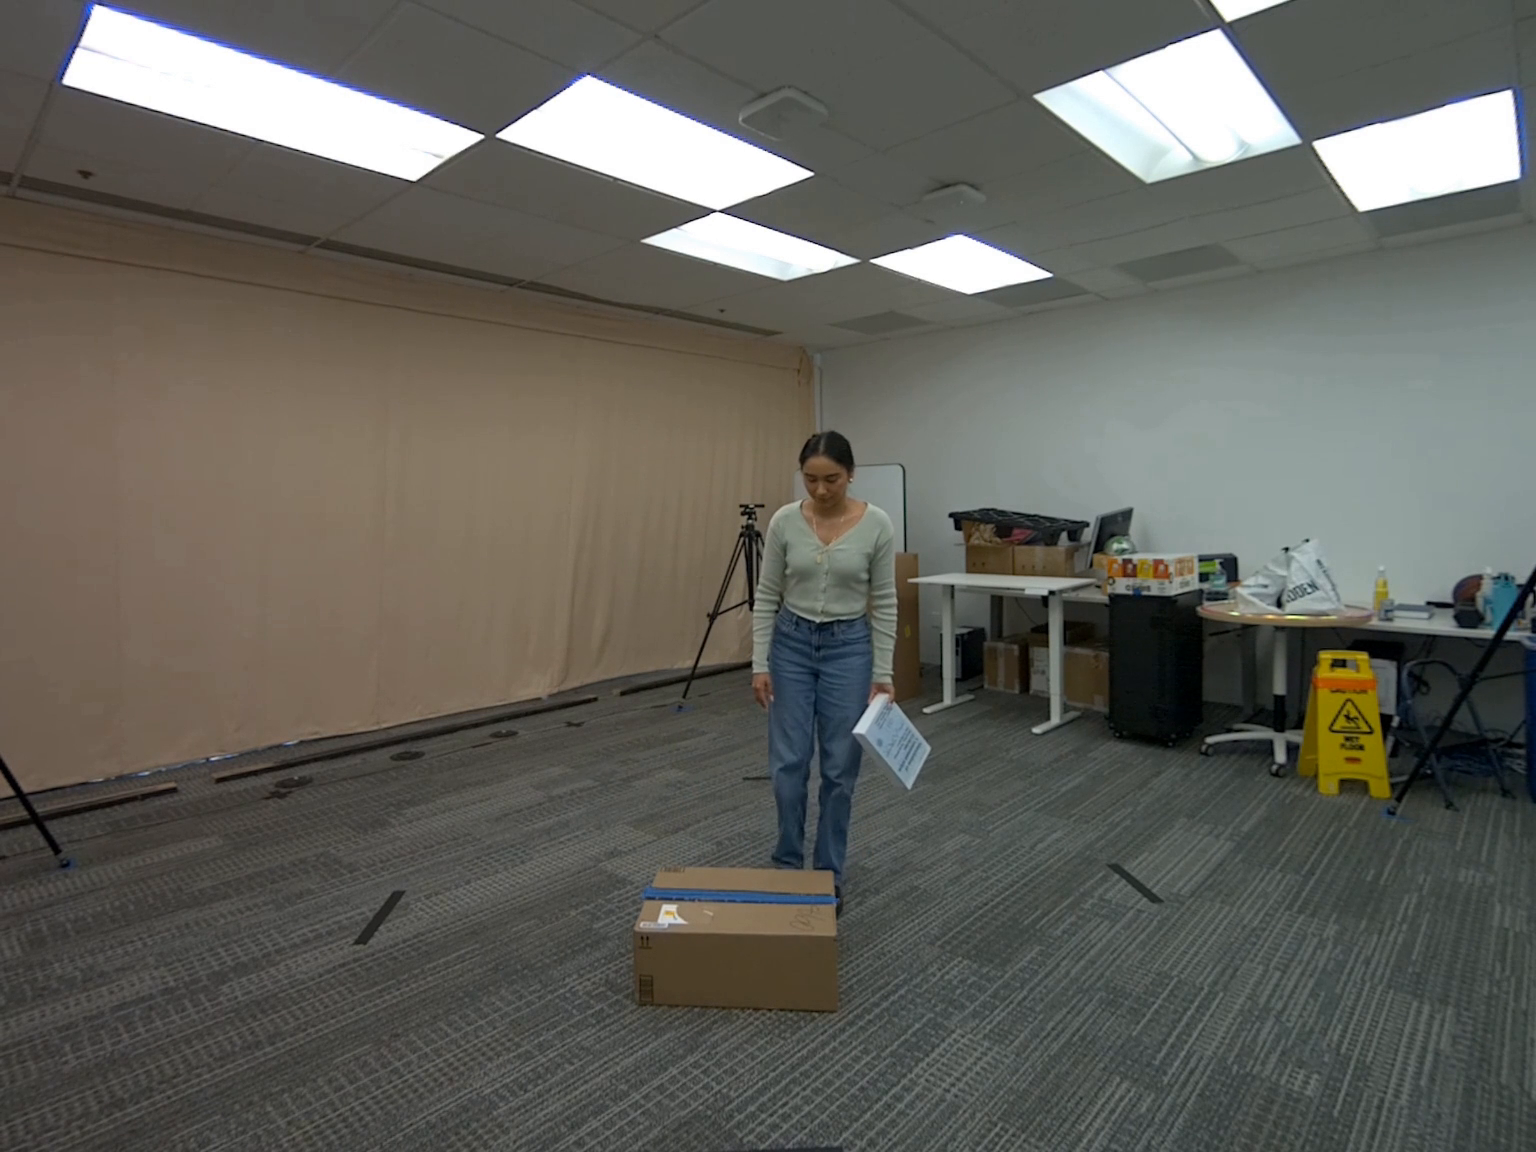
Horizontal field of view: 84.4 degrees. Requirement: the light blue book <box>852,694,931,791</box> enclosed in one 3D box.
[{"bbox_3d":[0.419,0.554,2.827,0.060,0.257,0.190,-20,23,52],"label":"light blue book"}]
